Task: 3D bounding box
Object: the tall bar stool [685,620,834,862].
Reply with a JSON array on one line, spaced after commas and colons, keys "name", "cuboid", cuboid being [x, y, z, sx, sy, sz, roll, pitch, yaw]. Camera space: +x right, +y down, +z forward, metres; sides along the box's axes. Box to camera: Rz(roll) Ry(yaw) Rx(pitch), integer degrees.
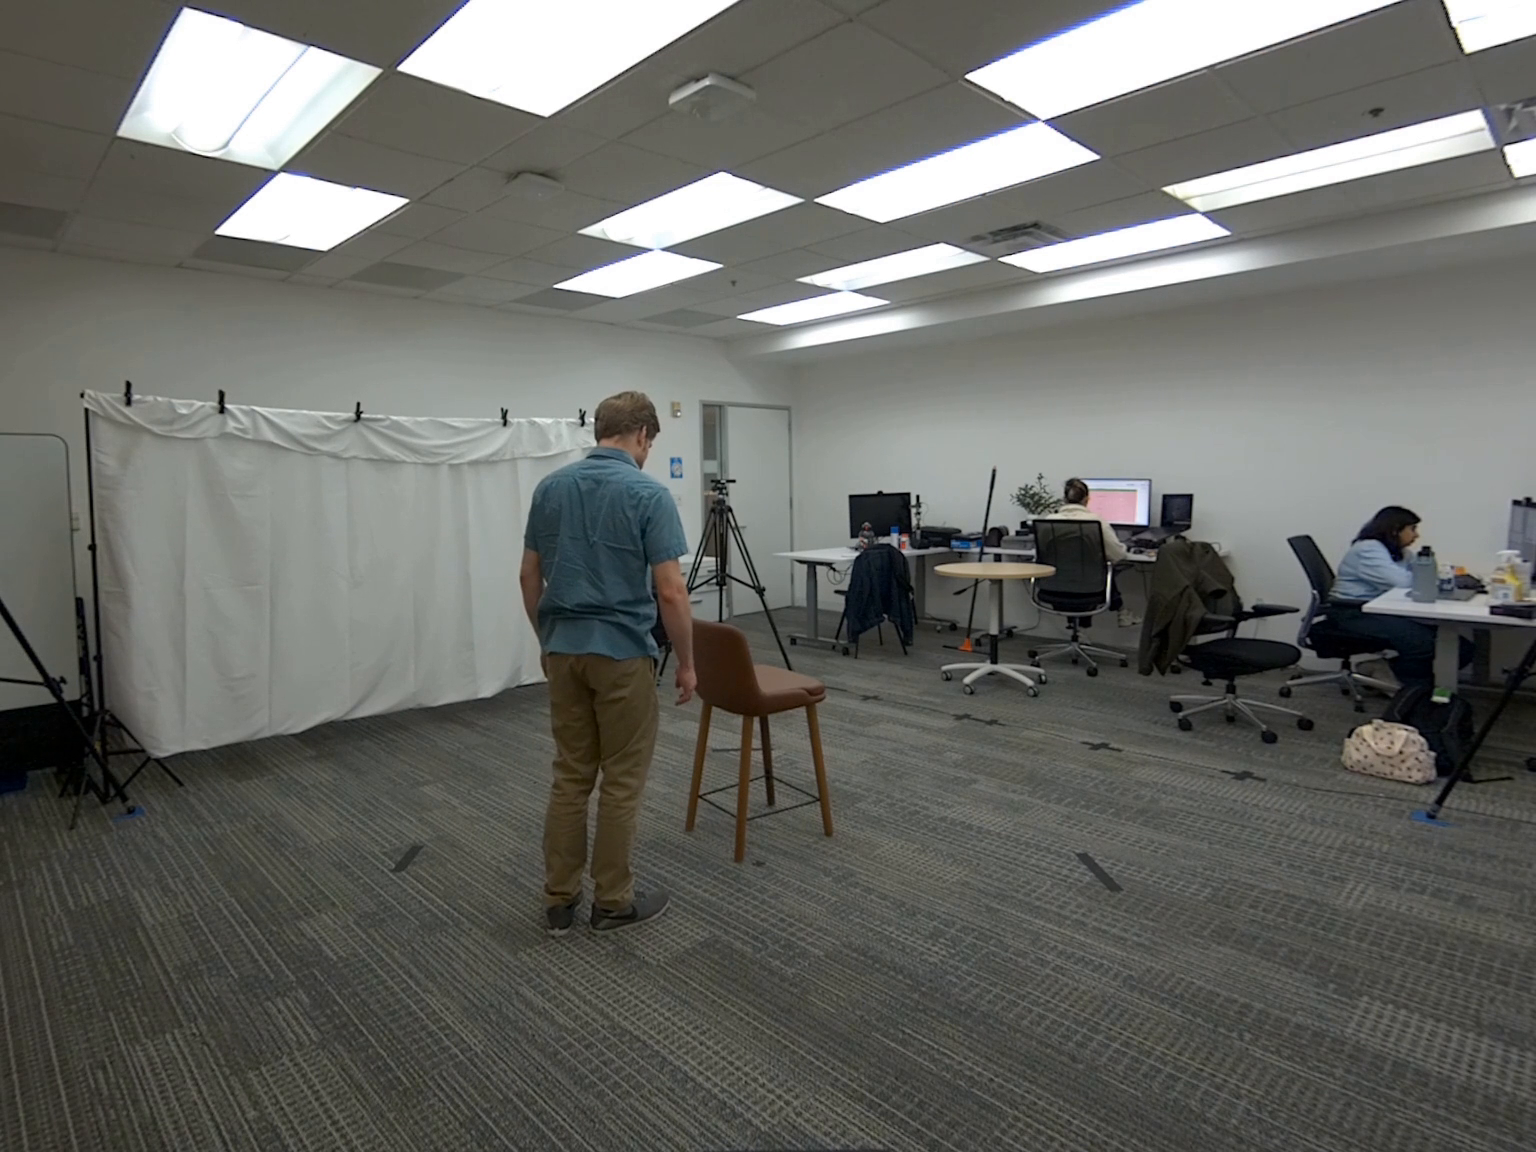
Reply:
[{"name": "tall bar stool", "cuboid": [-0.052, 0.584, 3.362, 0.456, 0.886, 0.470, -6, 6, -35]}]
